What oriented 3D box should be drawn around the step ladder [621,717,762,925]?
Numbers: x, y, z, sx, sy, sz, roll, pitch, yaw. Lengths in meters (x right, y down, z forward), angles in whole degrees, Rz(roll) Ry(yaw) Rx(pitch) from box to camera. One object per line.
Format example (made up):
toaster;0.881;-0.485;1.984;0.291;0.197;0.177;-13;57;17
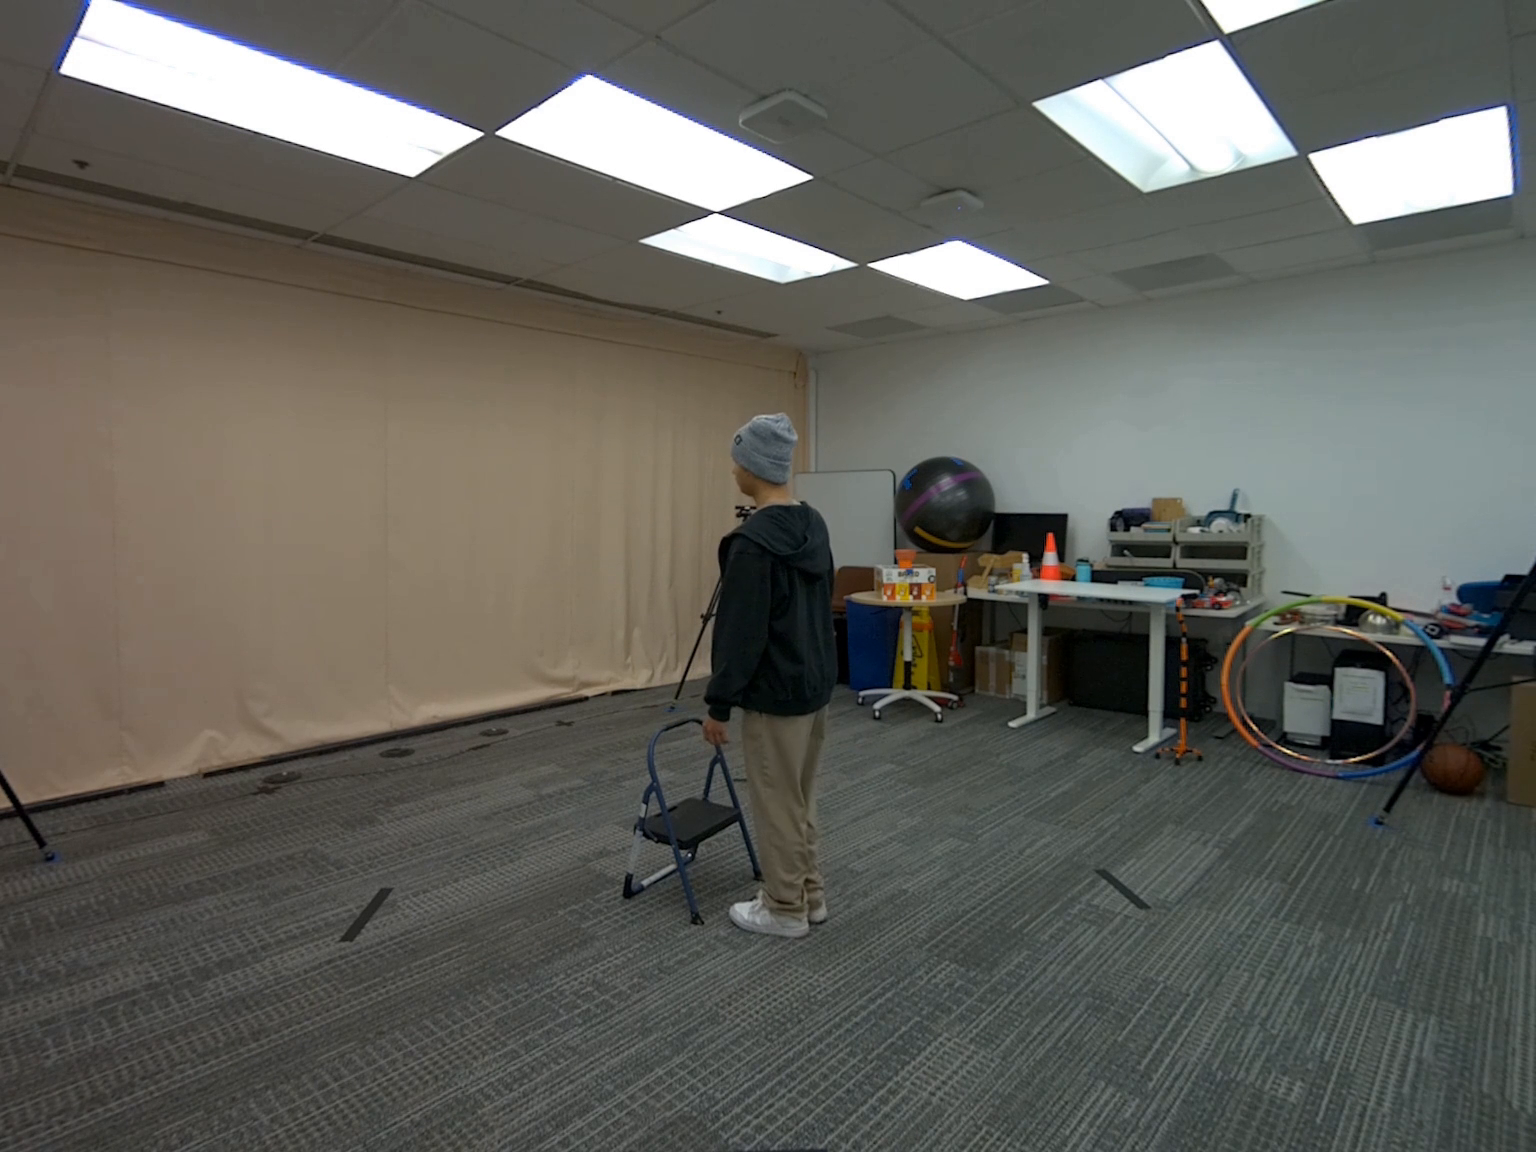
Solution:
step ladder;-0.268;0.837;3.053;0.360;0.605;0.418;2;4;32
